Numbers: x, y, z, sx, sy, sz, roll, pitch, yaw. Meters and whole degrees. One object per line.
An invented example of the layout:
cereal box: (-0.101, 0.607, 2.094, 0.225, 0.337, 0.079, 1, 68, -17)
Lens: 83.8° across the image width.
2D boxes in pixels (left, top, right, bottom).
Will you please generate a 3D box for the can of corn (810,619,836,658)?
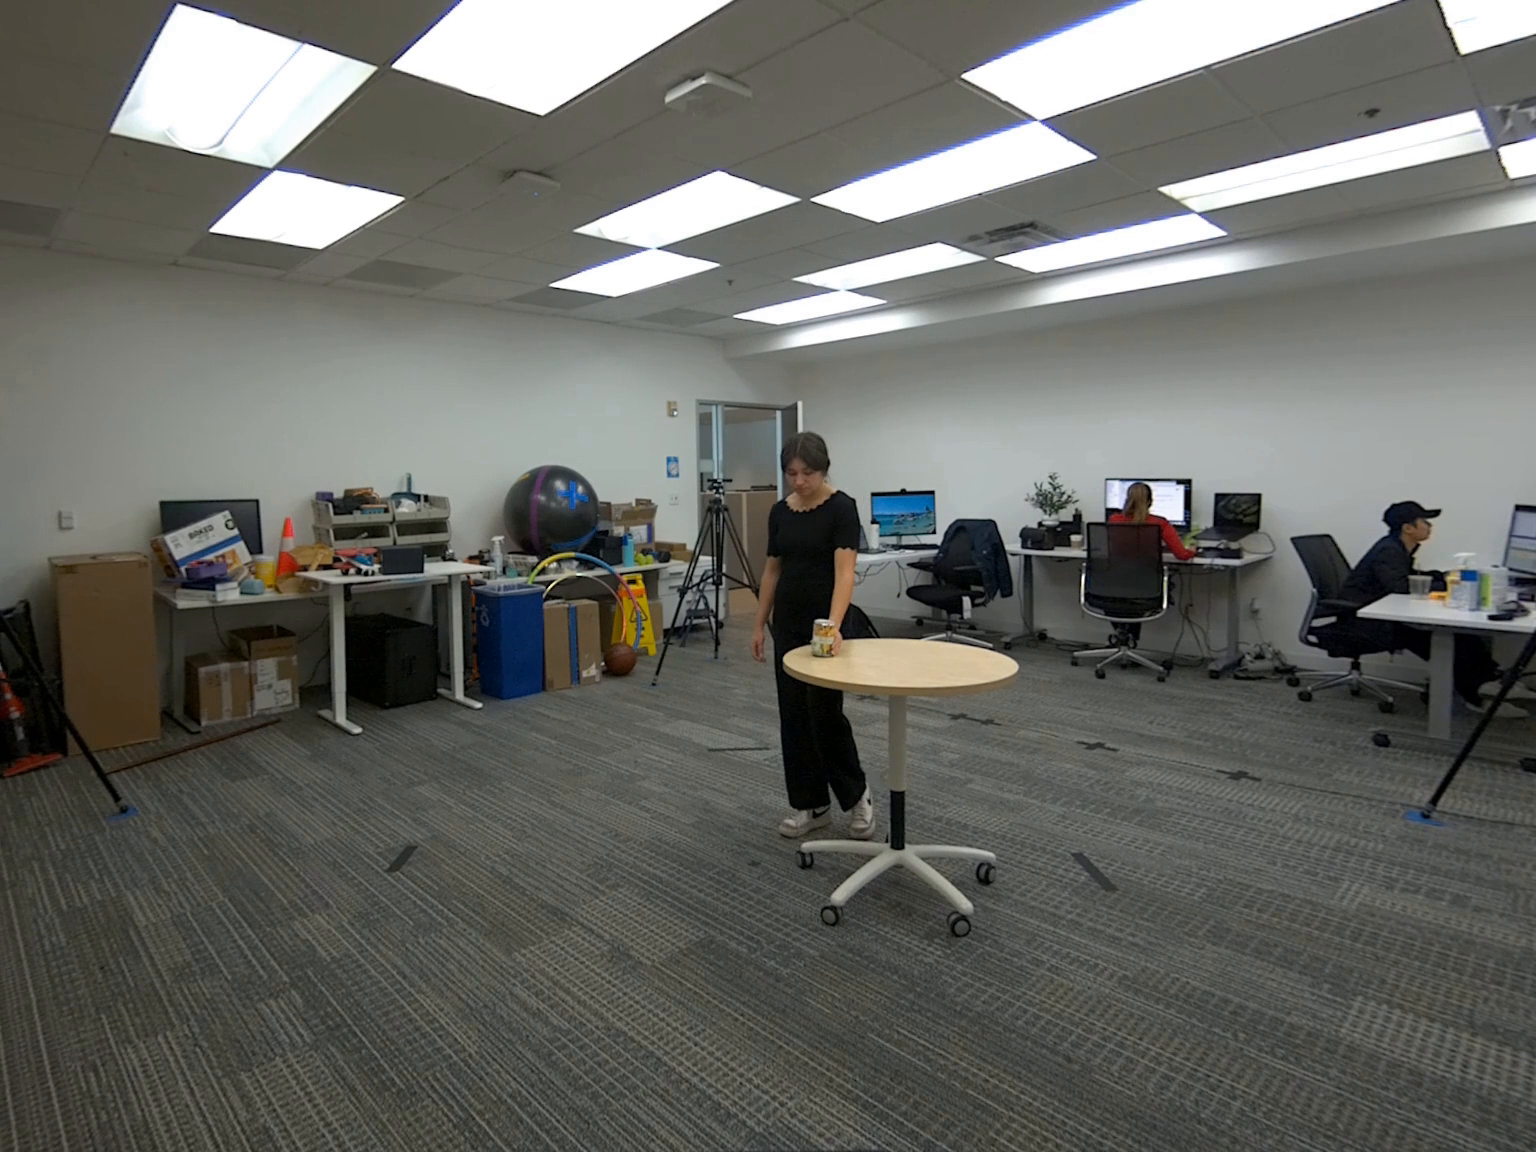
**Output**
can of corn: (0.184, 0.215, 2.936, 0.074, 0.111, 0.074, 3, 4, -2)
